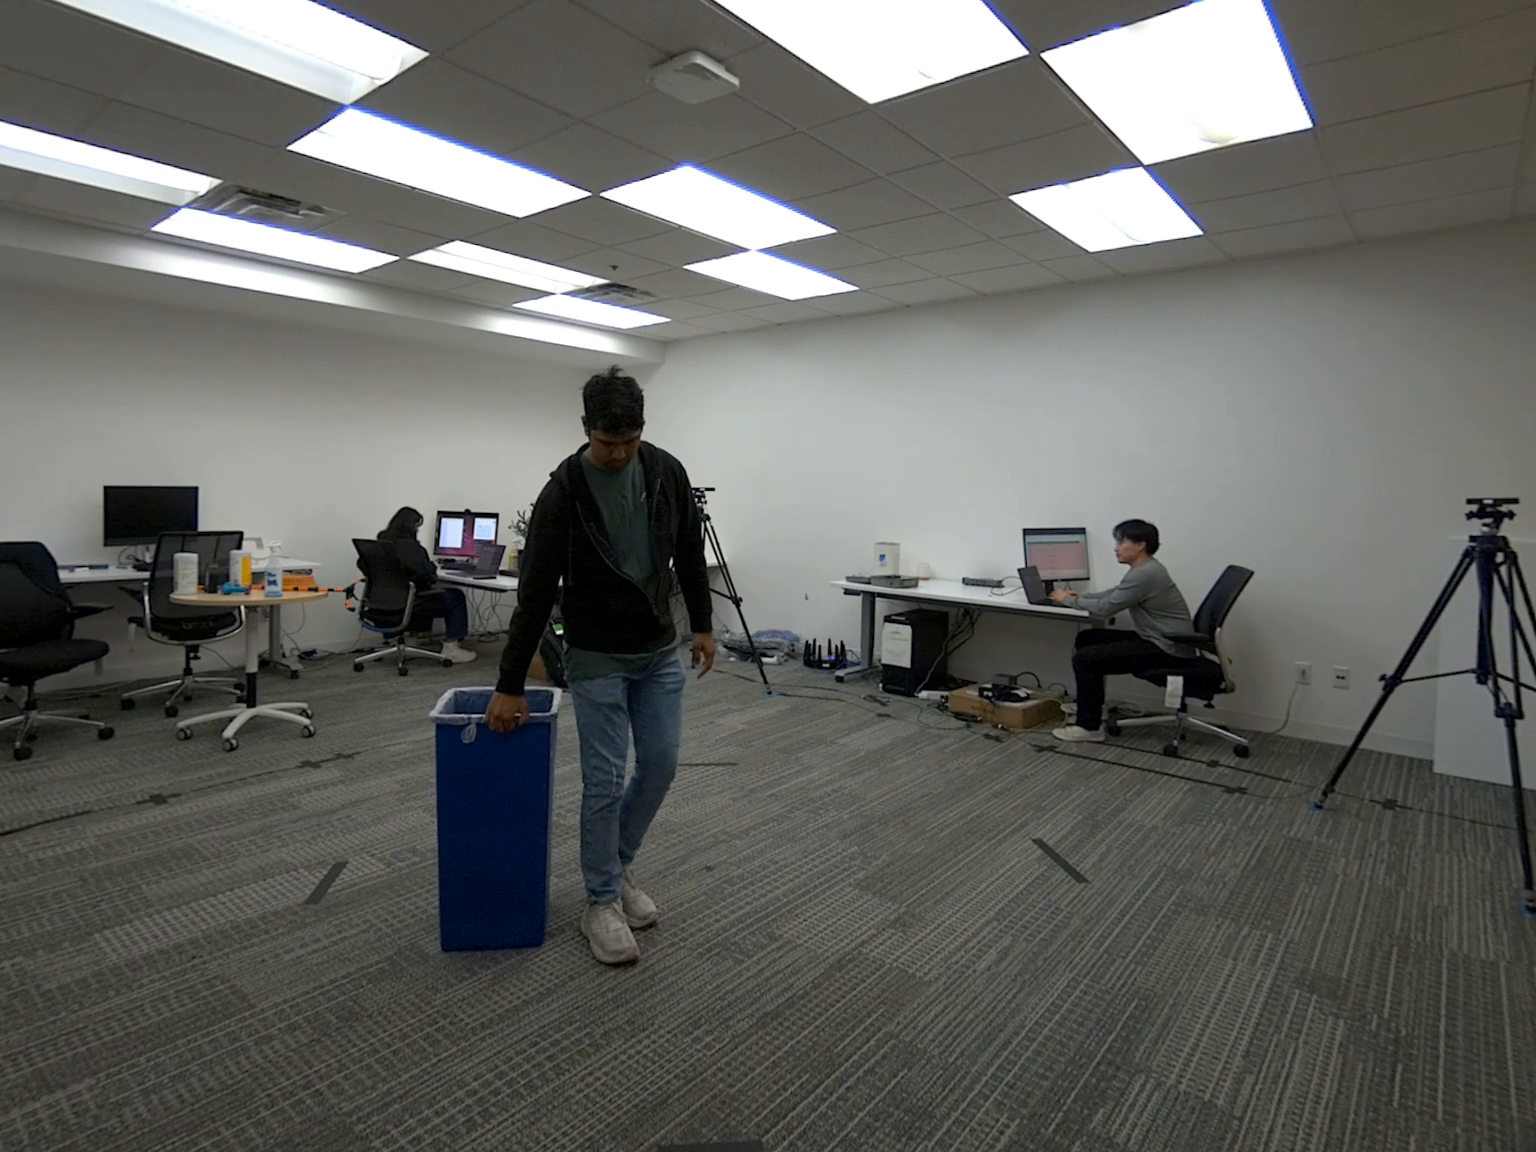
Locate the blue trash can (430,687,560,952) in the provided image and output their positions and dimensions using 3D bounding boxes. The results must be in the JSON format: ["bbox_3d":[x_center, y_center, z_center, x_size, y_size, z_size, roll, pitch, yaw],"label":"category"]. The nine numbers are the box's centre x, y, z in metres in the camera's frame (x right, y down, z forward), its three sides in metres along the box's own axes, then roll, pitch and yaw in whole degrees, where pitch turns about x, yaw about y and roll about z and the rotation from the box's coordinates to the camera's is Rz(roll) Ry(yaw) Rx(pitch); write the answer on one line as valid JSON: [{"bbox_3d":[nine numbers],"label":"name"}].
[{"bbox_3d":[-0.853,0.742,2.674,0.370,0.712,0.383,0,3,-12],"label":"blue trash can"}]
